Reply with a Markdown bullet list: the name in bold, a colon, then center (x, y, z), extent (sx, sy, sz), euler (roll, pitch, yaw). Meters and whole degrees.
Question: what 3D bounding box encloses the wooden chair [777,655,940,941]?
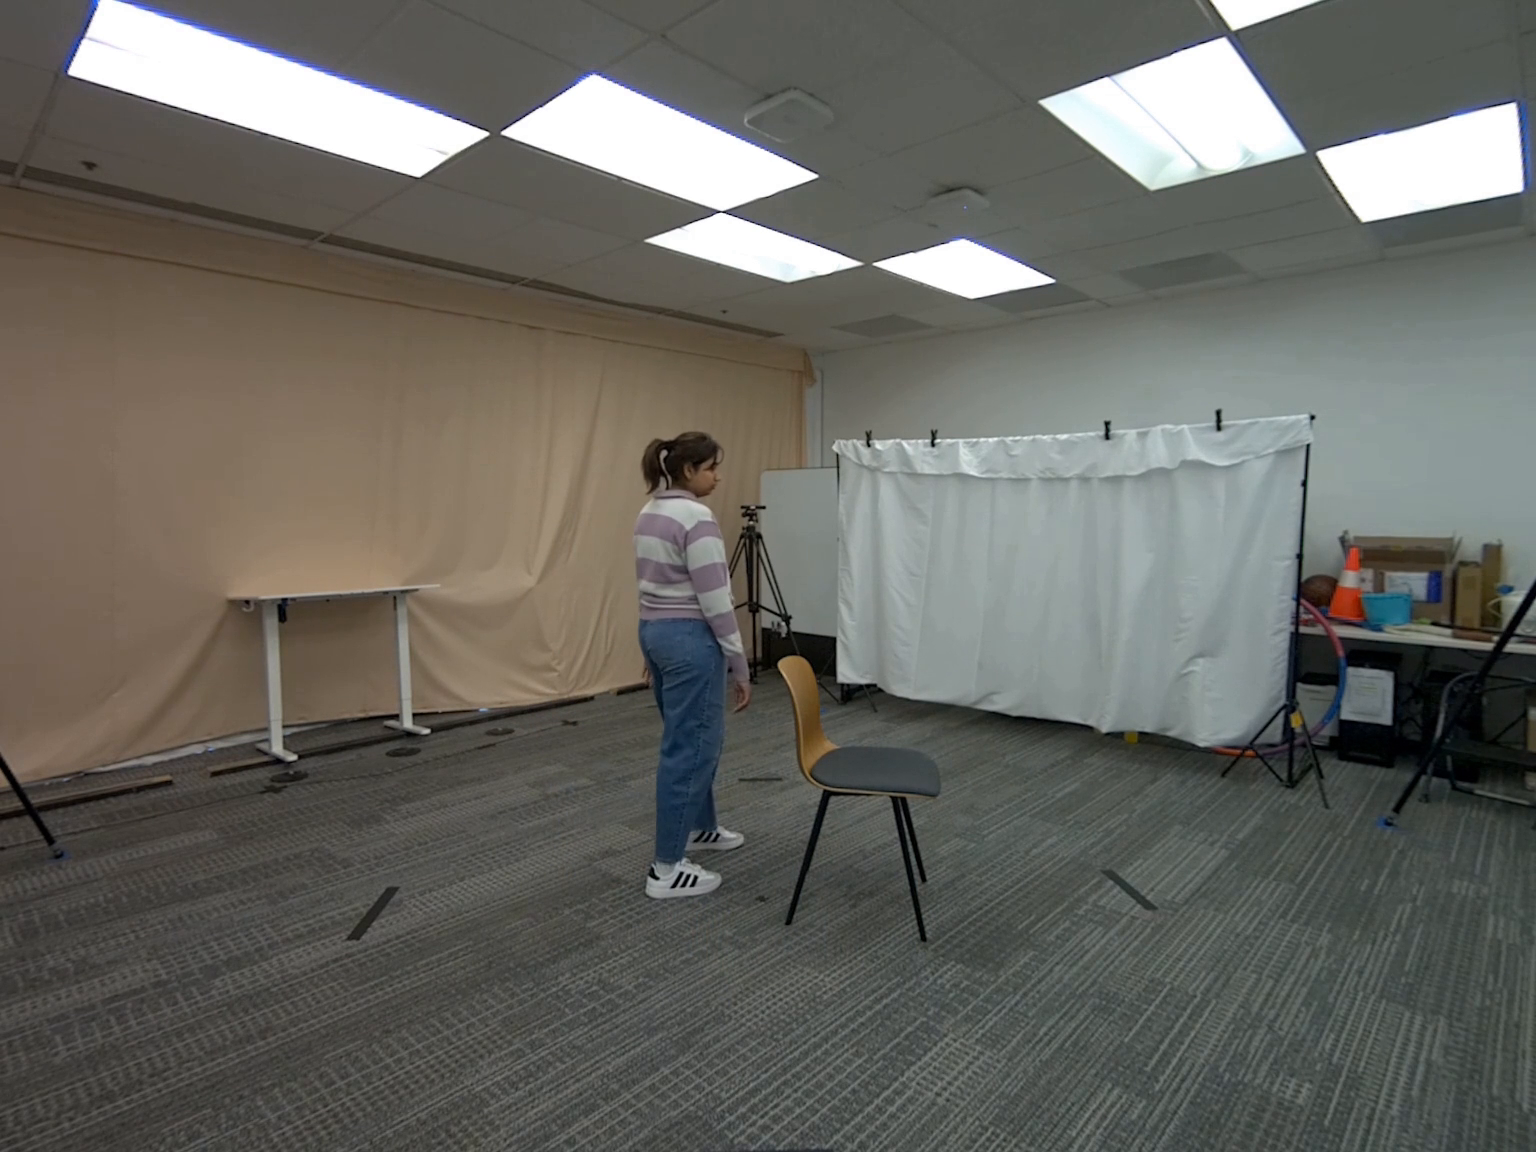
- **wooden chair**: center (0.332, 0.722, 2.917), extent (0.531, 0.876, 0.472), euler (-3, 2, 13)
